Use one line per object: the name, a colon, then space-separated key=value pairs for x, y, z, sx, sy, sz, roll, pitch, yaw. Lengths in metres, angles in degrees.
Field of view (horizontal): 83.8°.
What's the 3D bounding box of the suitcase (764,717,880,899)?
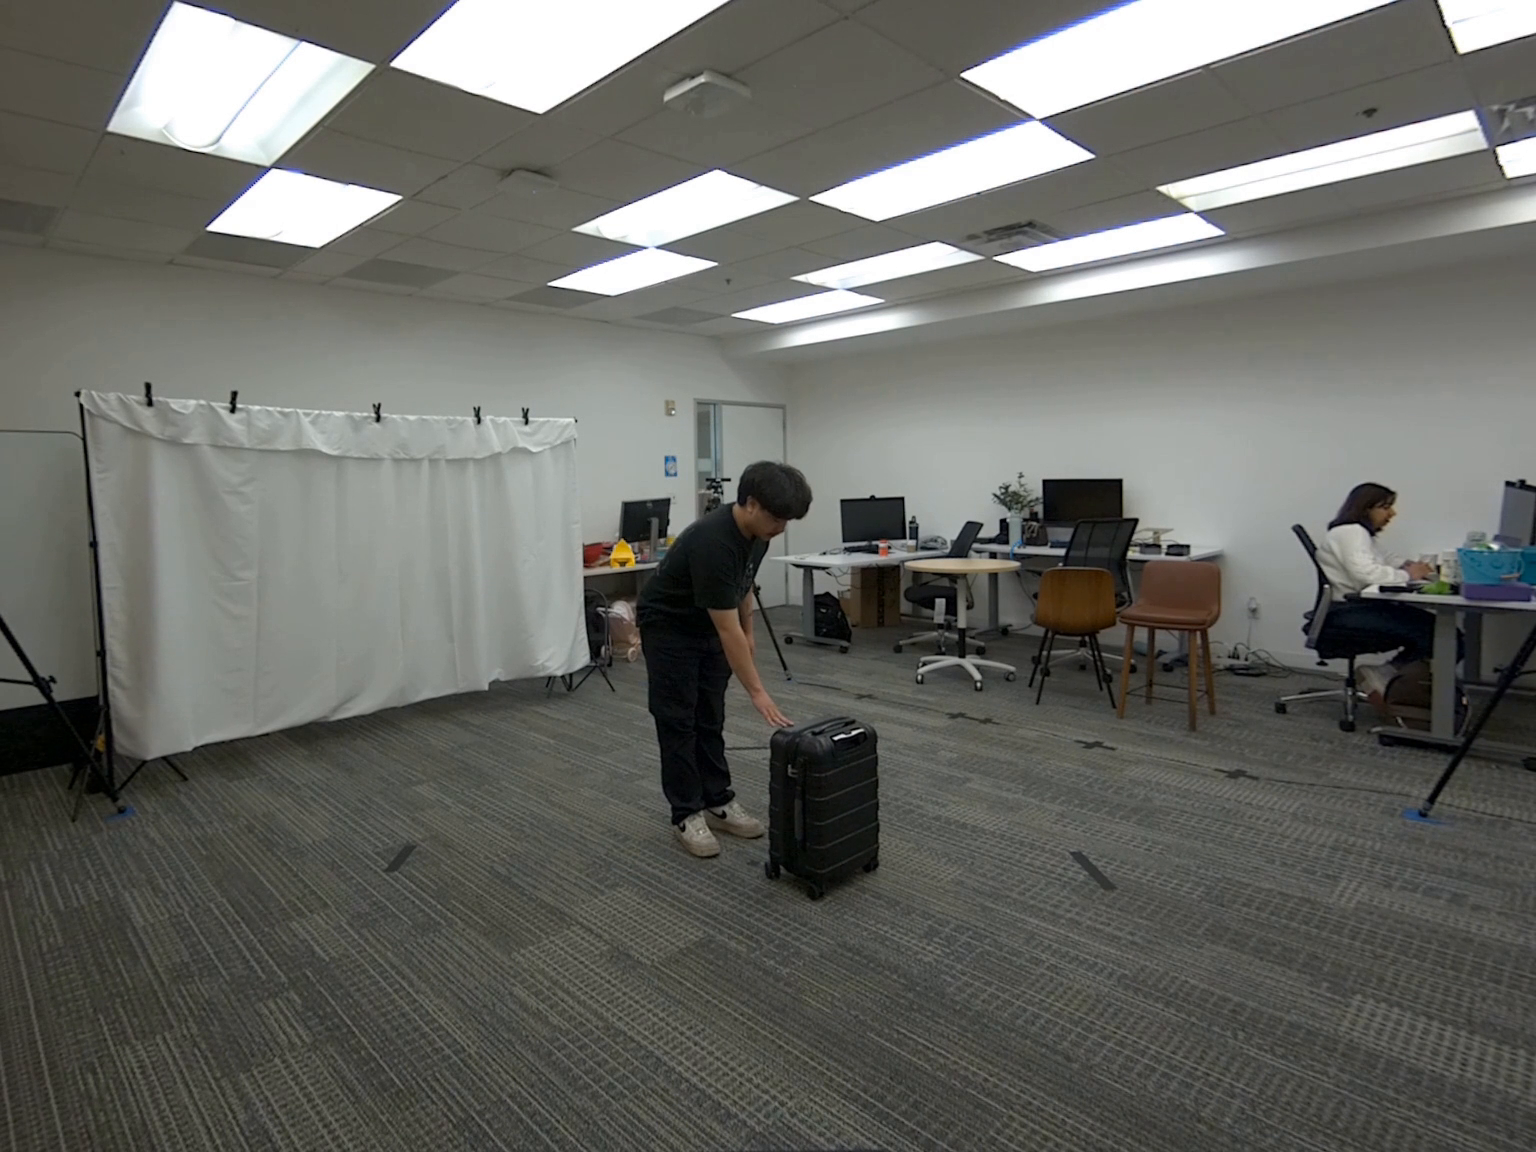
suitcase: x=0.200 y=0.775 z=2.975 sx=0.365 sy=0.547 sz=0.256 roll=-5 pitch=7 yaw=-44
